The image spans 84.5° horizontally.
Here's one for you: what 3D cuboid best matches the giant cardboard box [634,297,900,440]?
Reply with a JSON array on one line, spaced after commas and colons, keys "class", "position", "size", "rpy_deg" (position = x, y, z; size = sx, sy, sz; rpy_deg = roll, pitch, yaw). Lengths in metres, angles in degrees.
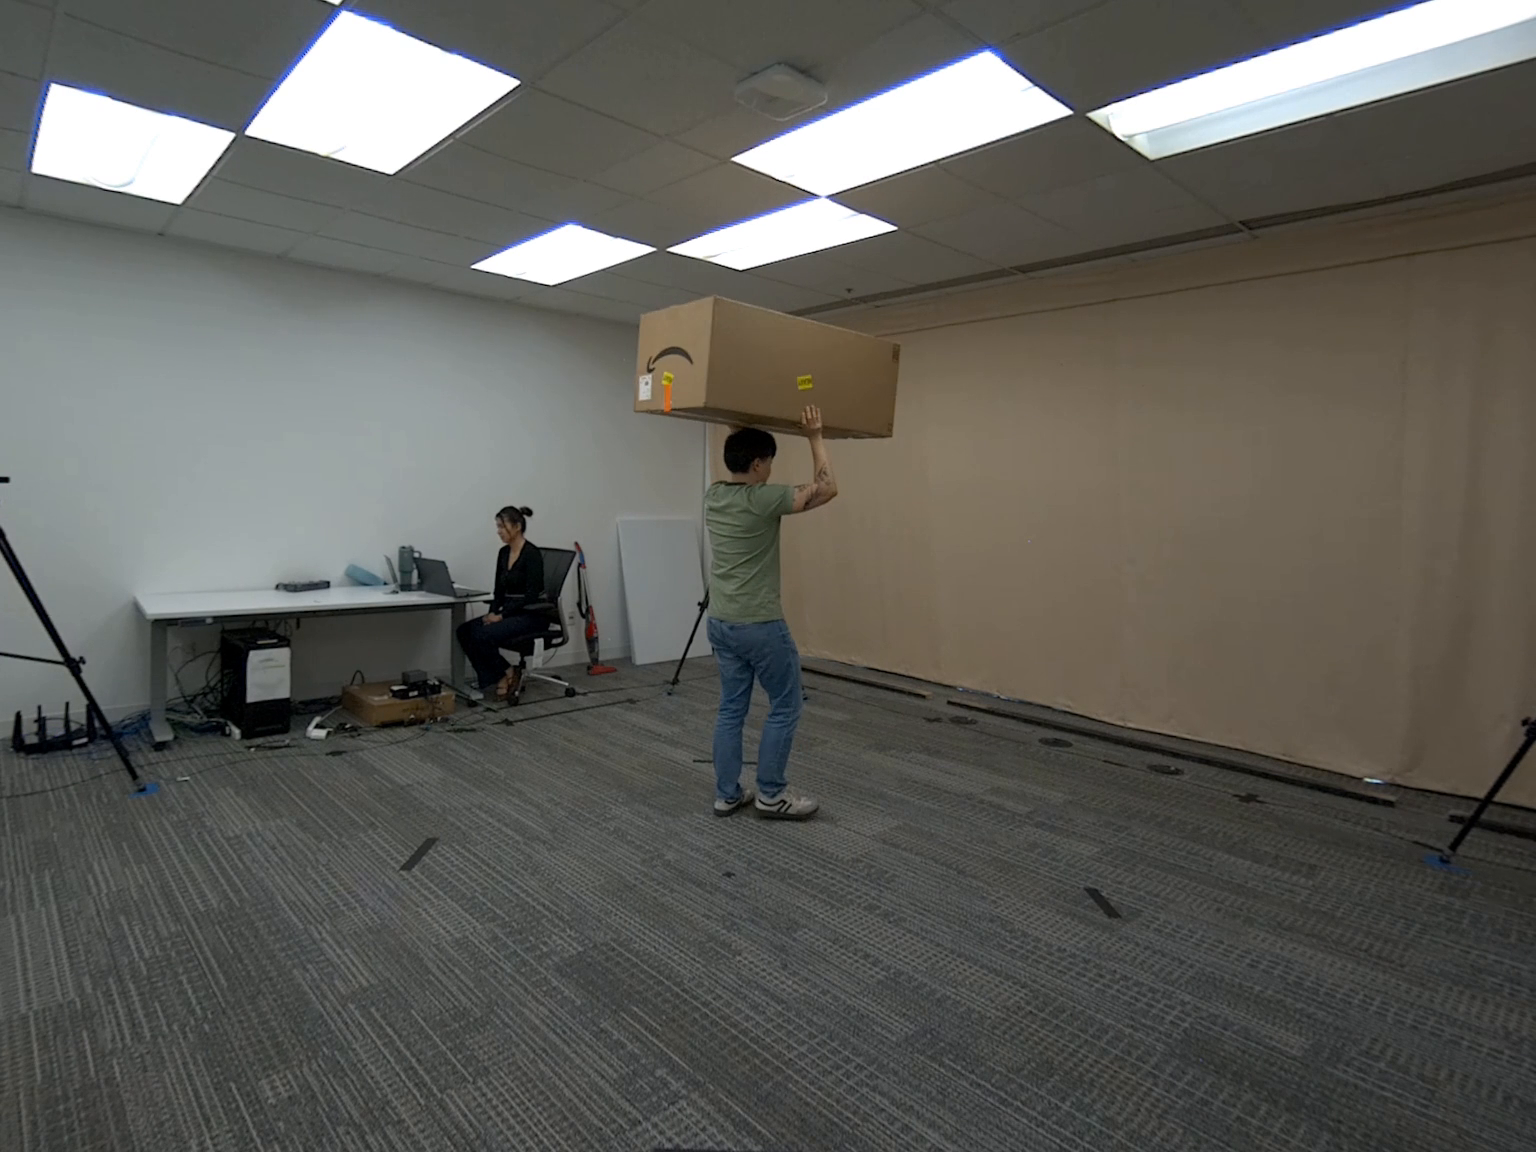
[{"class": "giant cardboard box", "position": [0.005, -0.871, 3.708], "size": [1.002, 0.425, 0.592], "rpy_deg": [1, 5, -37]}]
